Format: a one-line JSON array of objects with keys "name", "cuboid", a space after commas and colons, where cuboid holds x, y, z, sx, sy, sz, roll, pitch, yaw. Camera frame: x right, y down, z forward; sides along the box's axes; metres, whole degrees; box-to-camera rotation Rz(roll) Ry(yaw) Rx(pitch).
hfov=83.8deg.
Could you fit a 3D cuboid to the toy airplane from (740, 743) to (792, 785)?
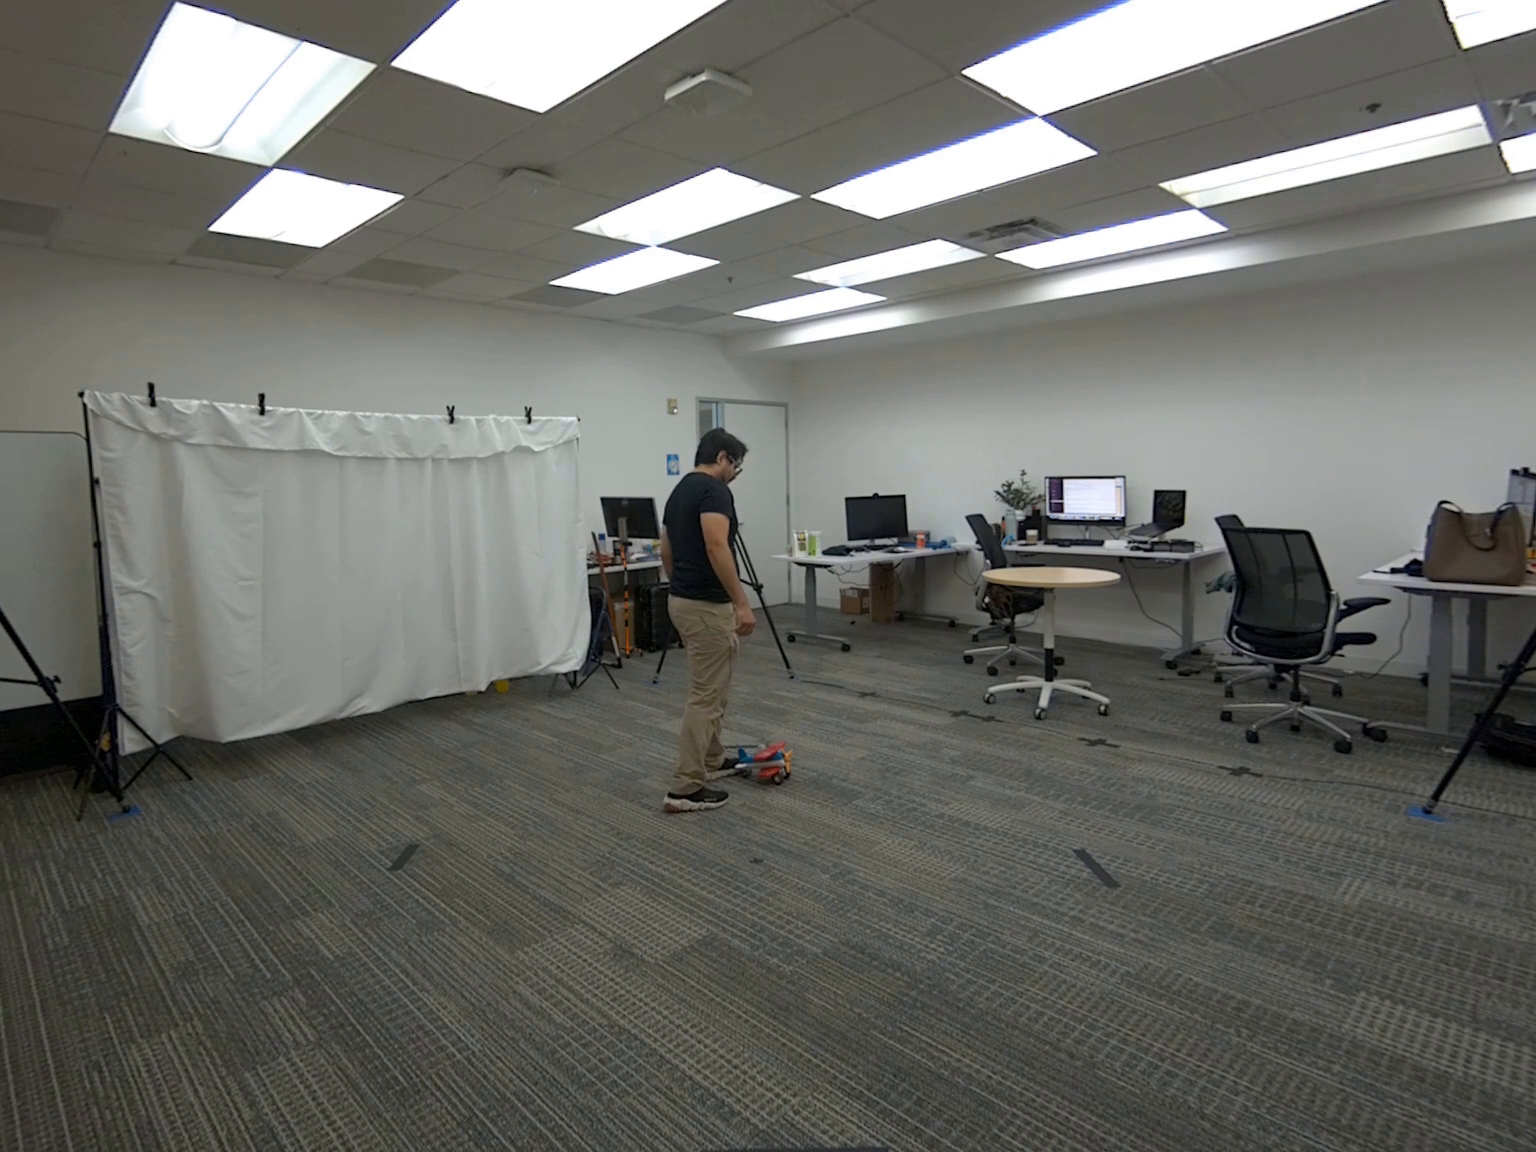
[{"name": "toy airplane", "cuboid": [-0.019, 0.873, 3.934, 0.259, 0.156, 0.252, 2, 3, -3]}]
